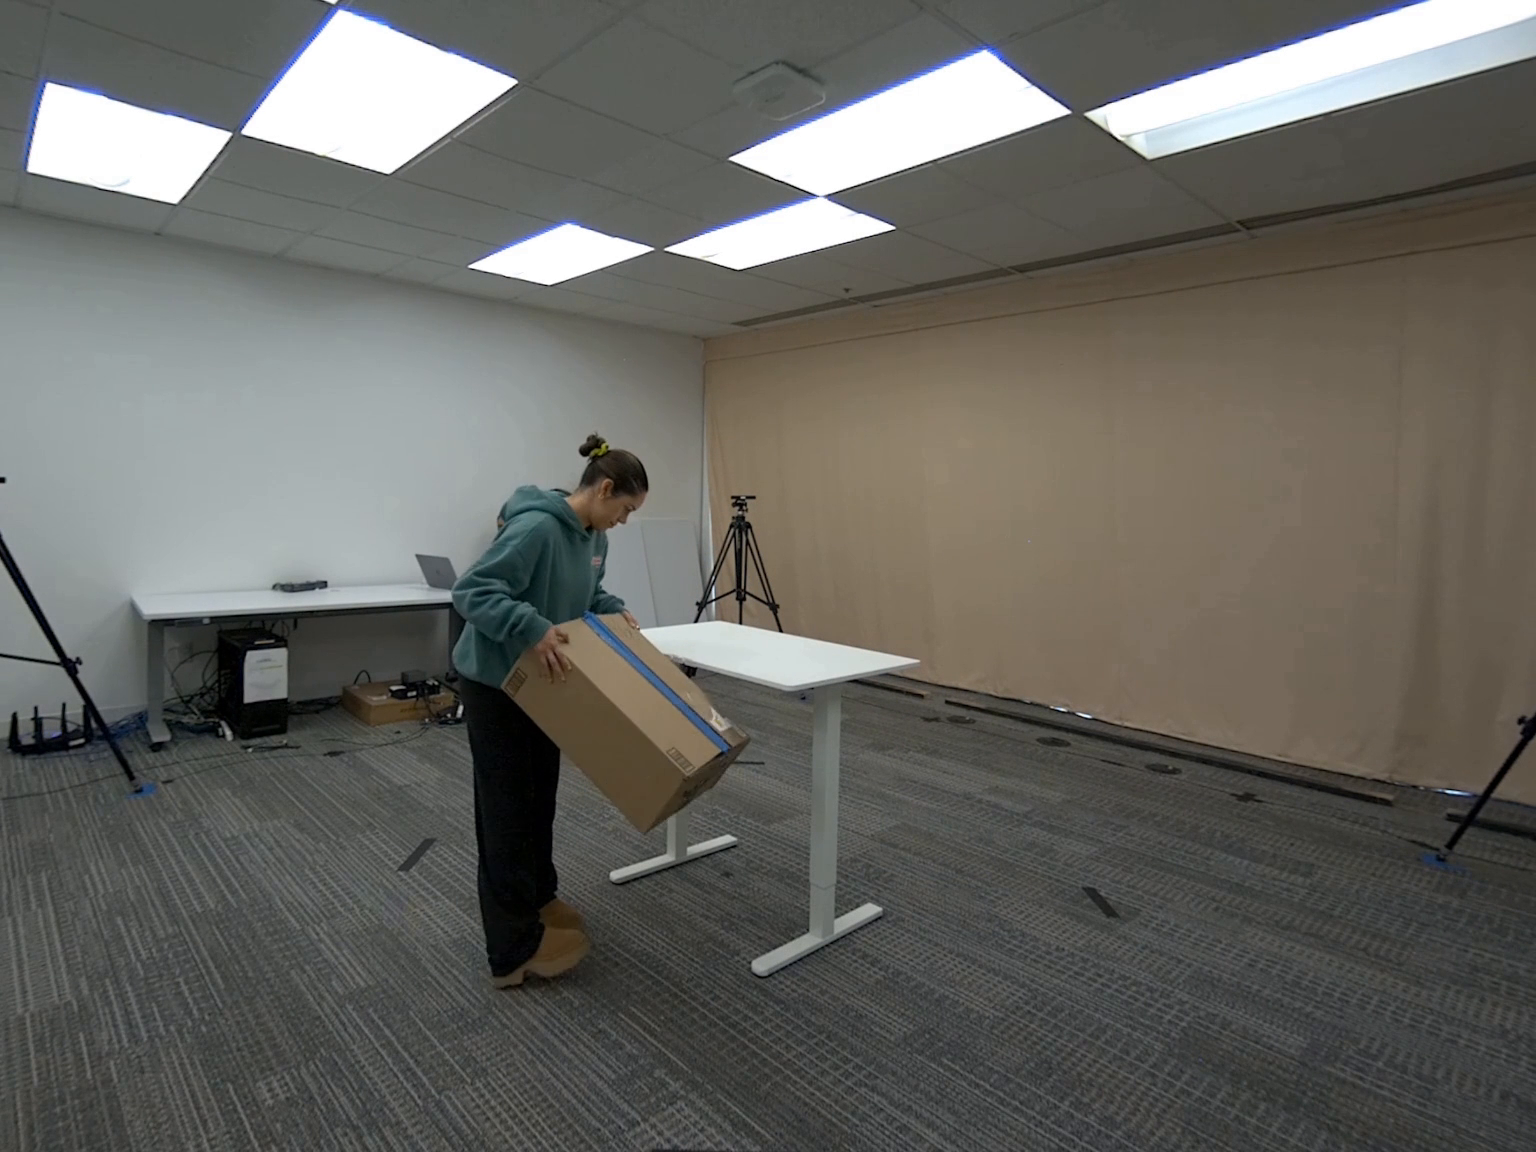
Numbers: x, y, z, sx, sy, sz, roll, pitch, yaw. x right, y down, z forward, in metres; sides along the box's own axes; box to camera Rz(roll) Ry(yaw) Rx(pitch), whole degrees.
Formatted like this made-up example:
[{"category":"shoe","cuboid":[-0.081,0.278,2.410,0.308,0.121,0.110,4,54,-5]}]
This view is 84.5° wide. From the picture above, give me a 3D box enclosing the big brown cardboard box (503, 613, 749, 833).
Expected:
[{"category":"big brown cardboard box","cuboid":[-0.394,0.390,2.369,0.599,0.232,0.411,40,16,16]}]
